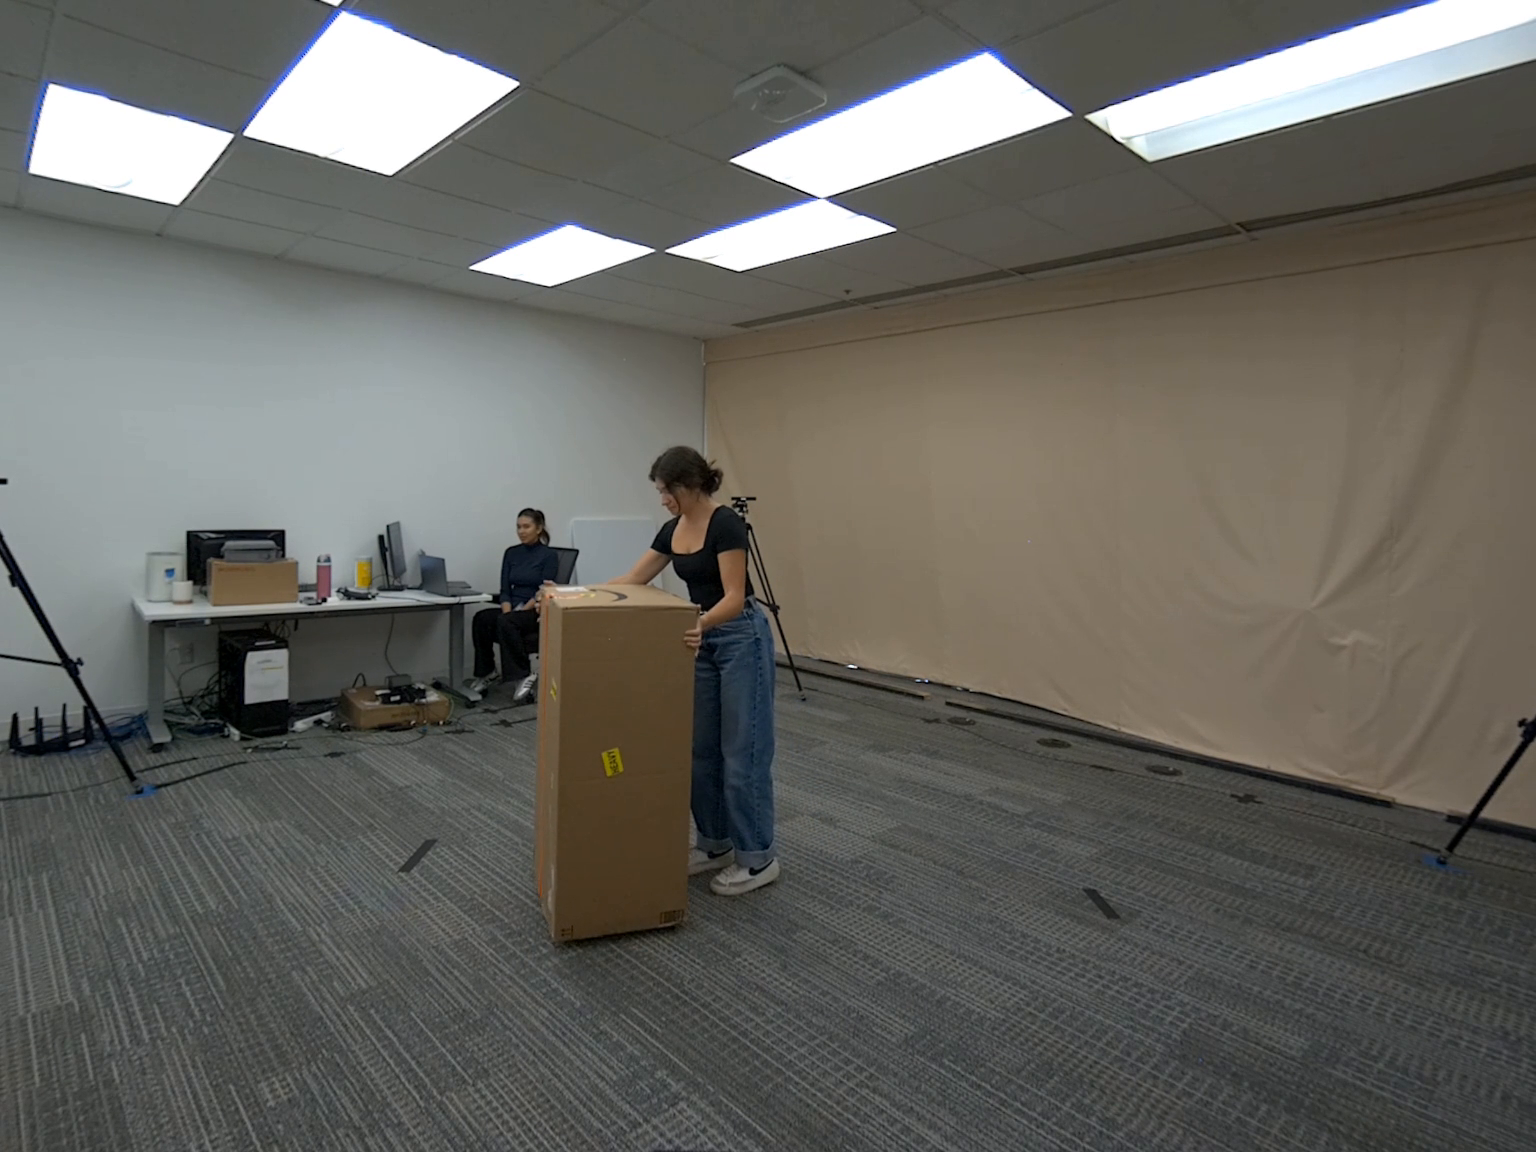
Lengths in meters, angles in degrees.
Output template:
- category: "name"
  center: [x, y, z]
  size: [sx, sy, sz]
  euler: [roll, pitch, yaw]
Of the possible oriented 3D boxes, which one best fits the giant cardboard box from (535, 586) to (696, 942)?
- category: "giant cardboard box"
  center: [-0.551, 0.573, 2.839]
  size: [0.419, 1.023, 0.588]
  euler: [1, 3, -22]
